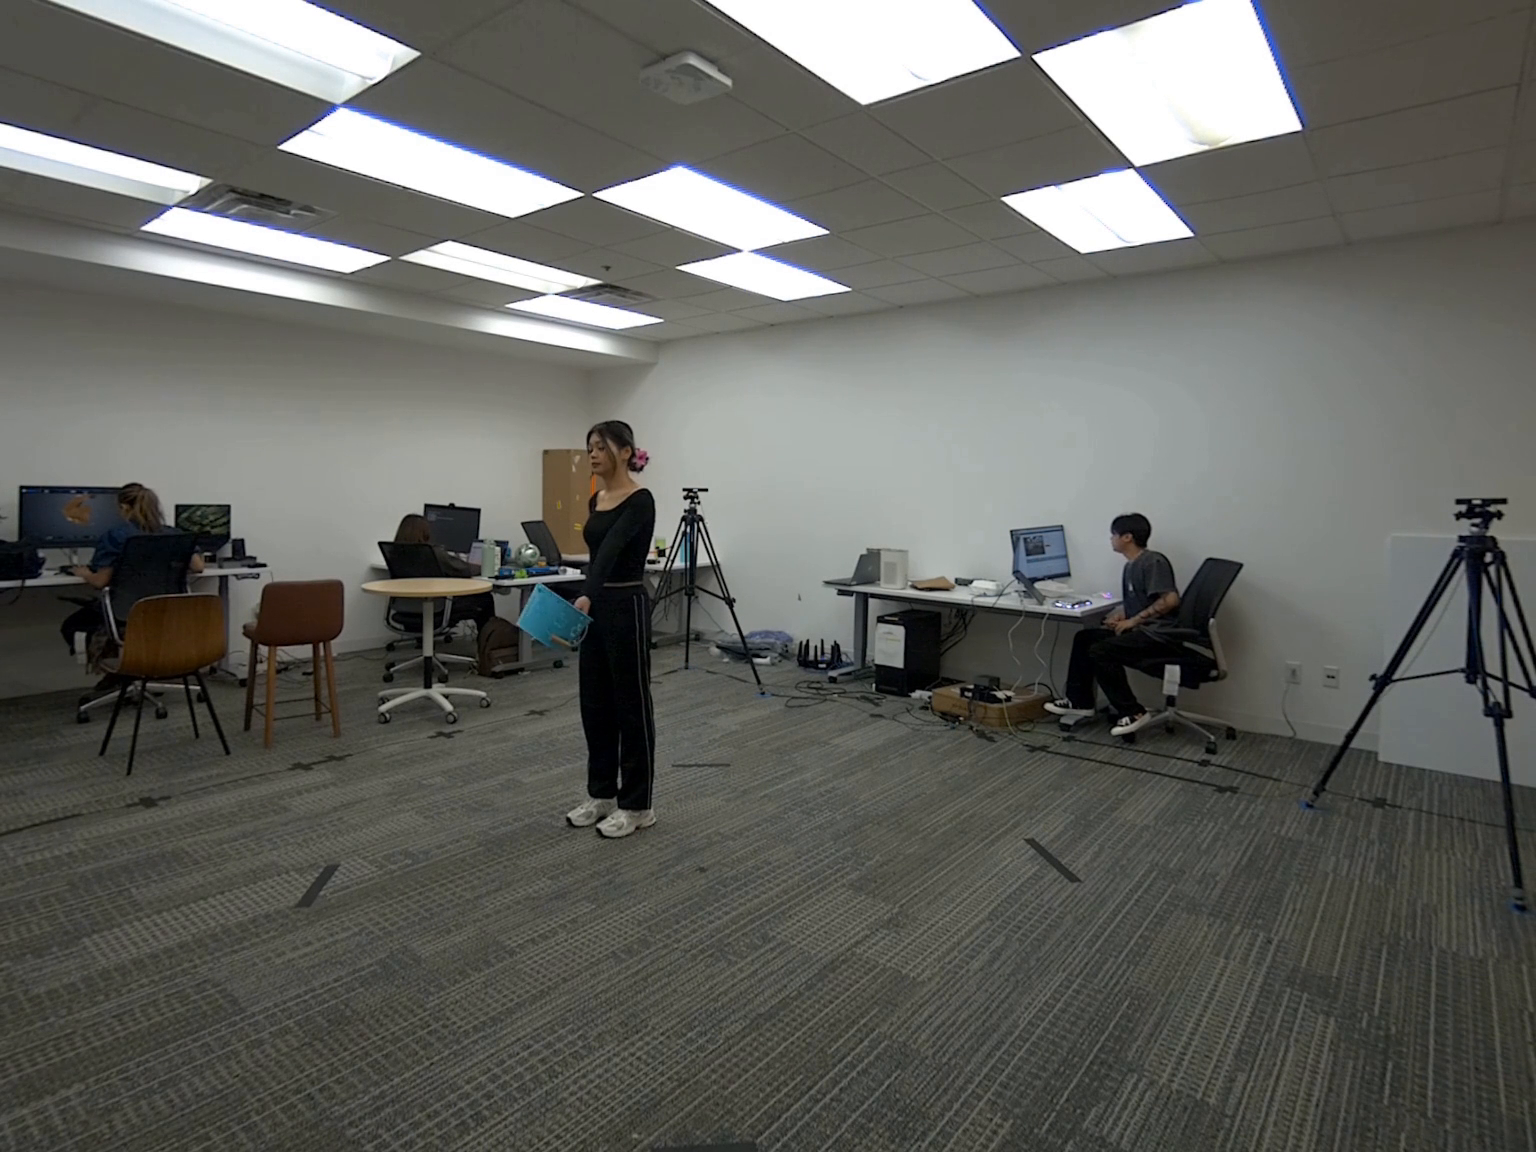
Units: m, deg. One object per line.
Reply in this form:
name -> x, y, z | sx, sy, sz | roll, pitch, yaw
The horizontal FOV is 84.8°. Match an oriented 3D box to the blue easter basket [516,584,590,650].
blue easter basket -> -0.727, 0.147, 2.846 | 0.246, 0.156, 0.241 | 33, -12, 6
